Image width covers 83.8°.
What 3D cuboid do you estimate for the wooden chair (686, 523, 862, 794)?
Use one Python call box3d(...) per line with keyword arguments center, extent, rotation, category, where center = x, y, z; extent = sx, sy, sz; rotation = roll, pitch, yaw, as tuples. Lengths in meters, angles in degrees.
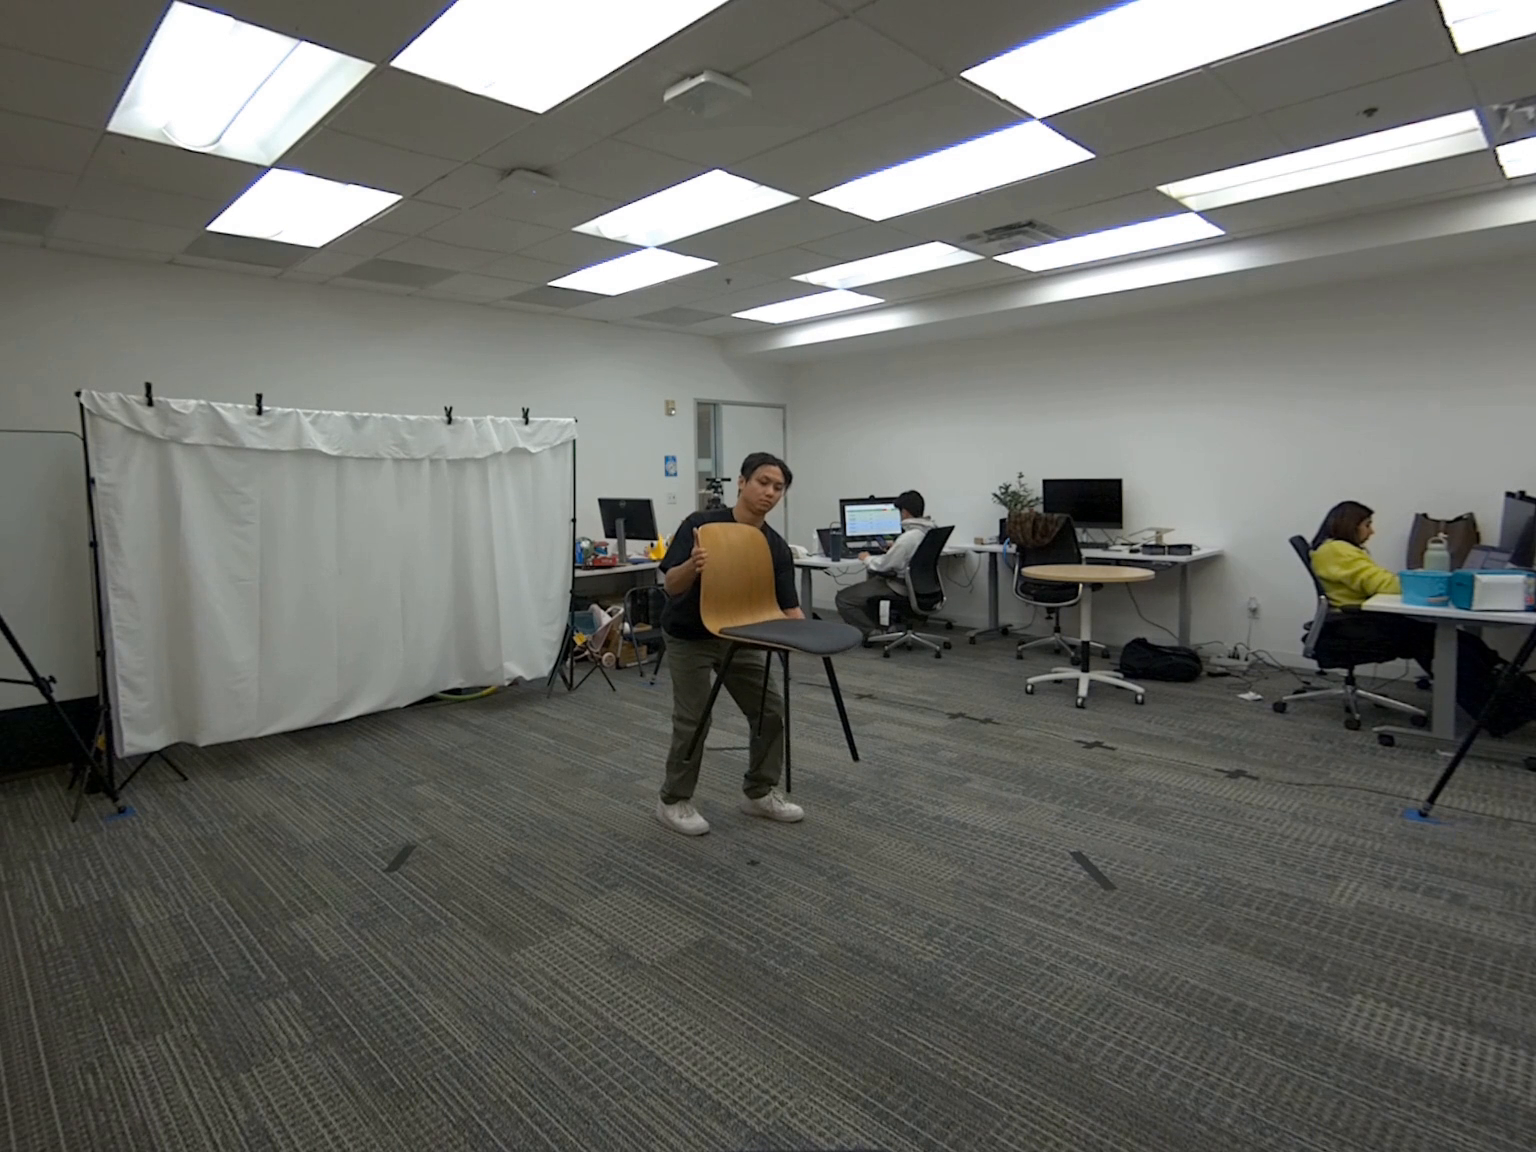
box3d(center=(0.037, 0.252, 3.037), extent=(0.538, 0.877, 0.465), rotation=(-1, 1, 37), category="wooden chair")
